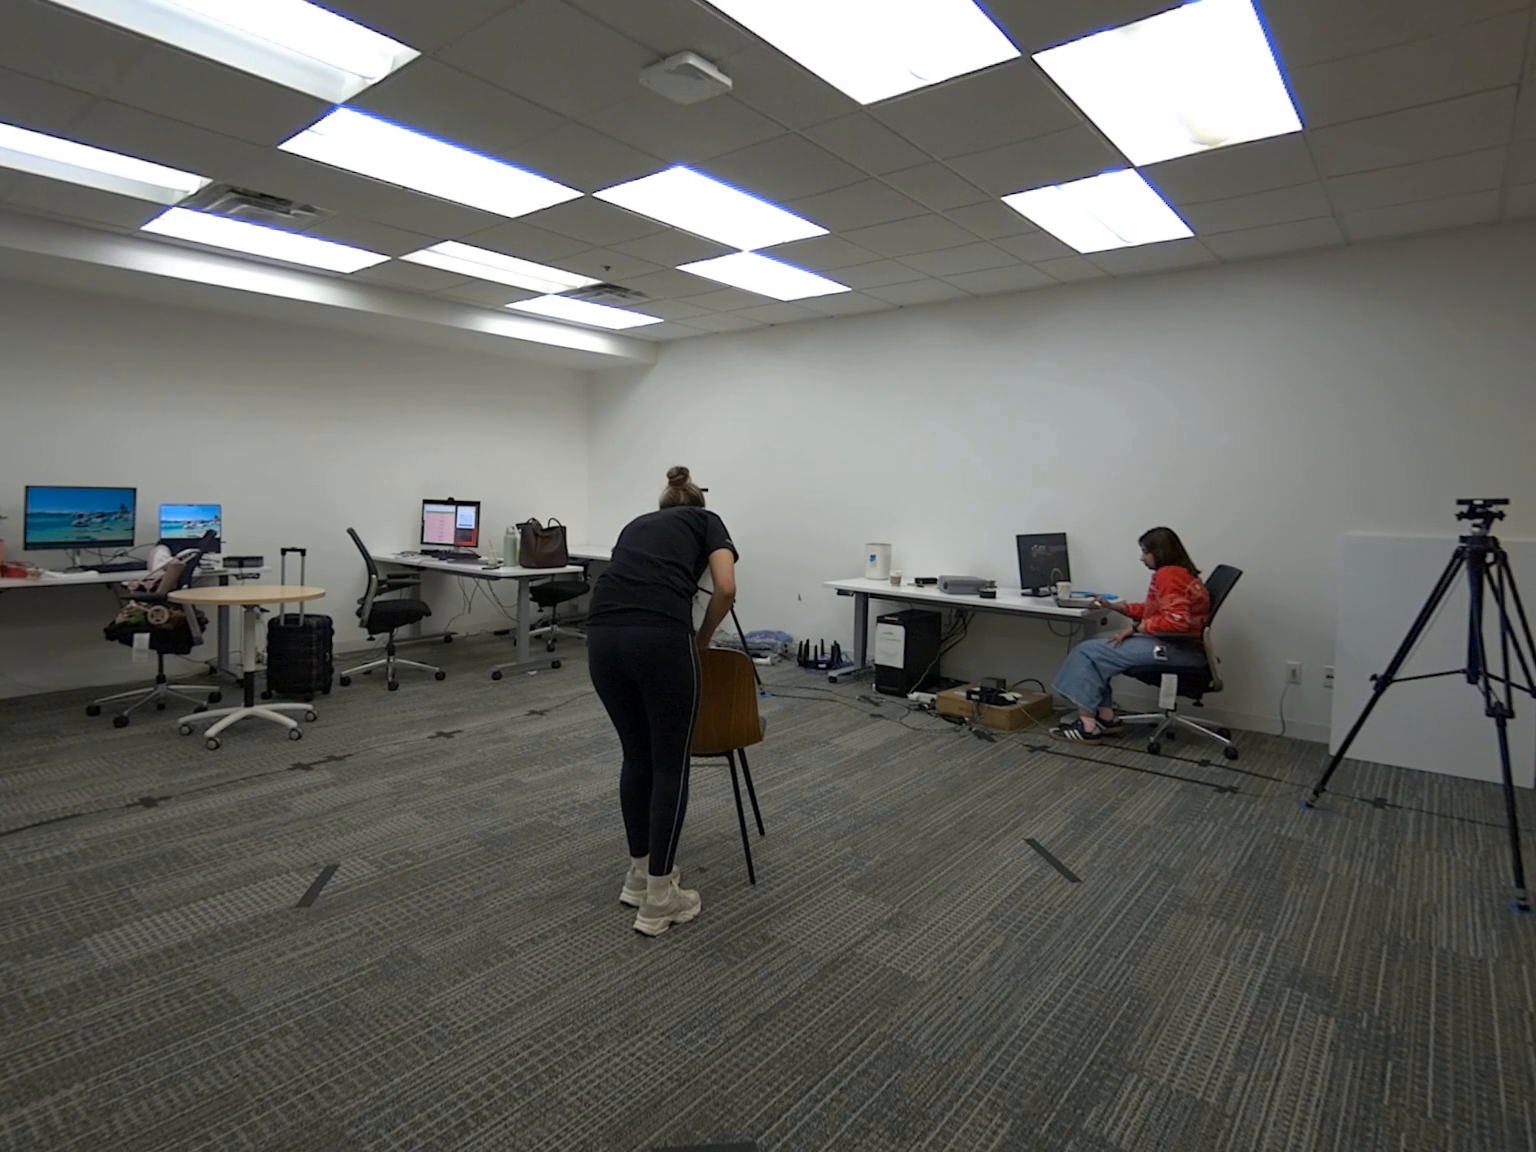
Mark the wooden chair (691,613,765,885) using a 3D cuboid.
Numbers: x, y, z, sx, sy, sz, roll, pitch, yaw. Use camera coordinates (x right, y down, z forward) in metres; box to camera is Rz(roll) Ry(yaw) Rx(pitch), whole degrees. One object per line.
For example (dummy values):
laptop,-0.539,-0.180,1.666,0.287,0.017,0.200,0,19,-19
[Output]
wooden chair,-0.260,0.628,3.226,0.482,0.872,0.523,0,7,6
